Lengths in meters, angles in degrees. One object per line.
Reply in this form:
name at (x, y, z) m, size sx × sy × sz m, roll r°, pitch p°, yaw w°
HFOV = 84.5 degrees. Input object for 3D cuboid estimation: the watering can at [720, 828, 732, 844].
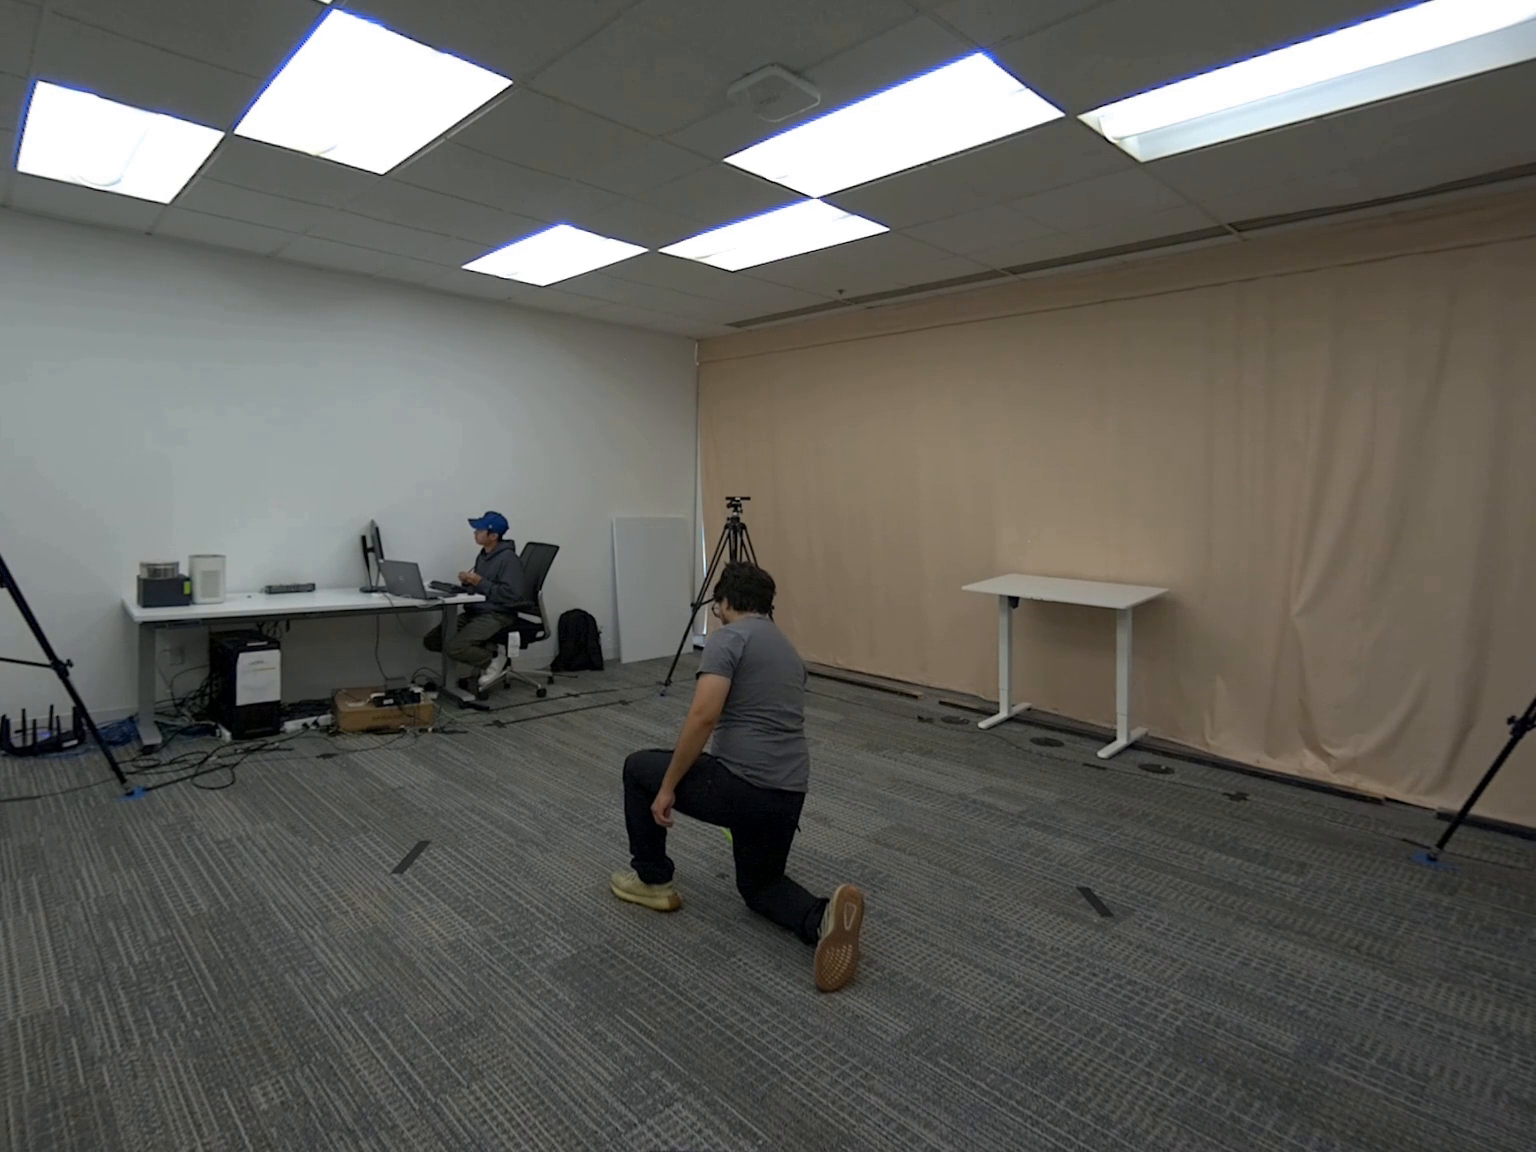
watering can at (-0.085, 1.015, 3.180) m, size 0.096 × 0.179 × 0.281 m, roll -3°, pitch -14°, yaw -41°
